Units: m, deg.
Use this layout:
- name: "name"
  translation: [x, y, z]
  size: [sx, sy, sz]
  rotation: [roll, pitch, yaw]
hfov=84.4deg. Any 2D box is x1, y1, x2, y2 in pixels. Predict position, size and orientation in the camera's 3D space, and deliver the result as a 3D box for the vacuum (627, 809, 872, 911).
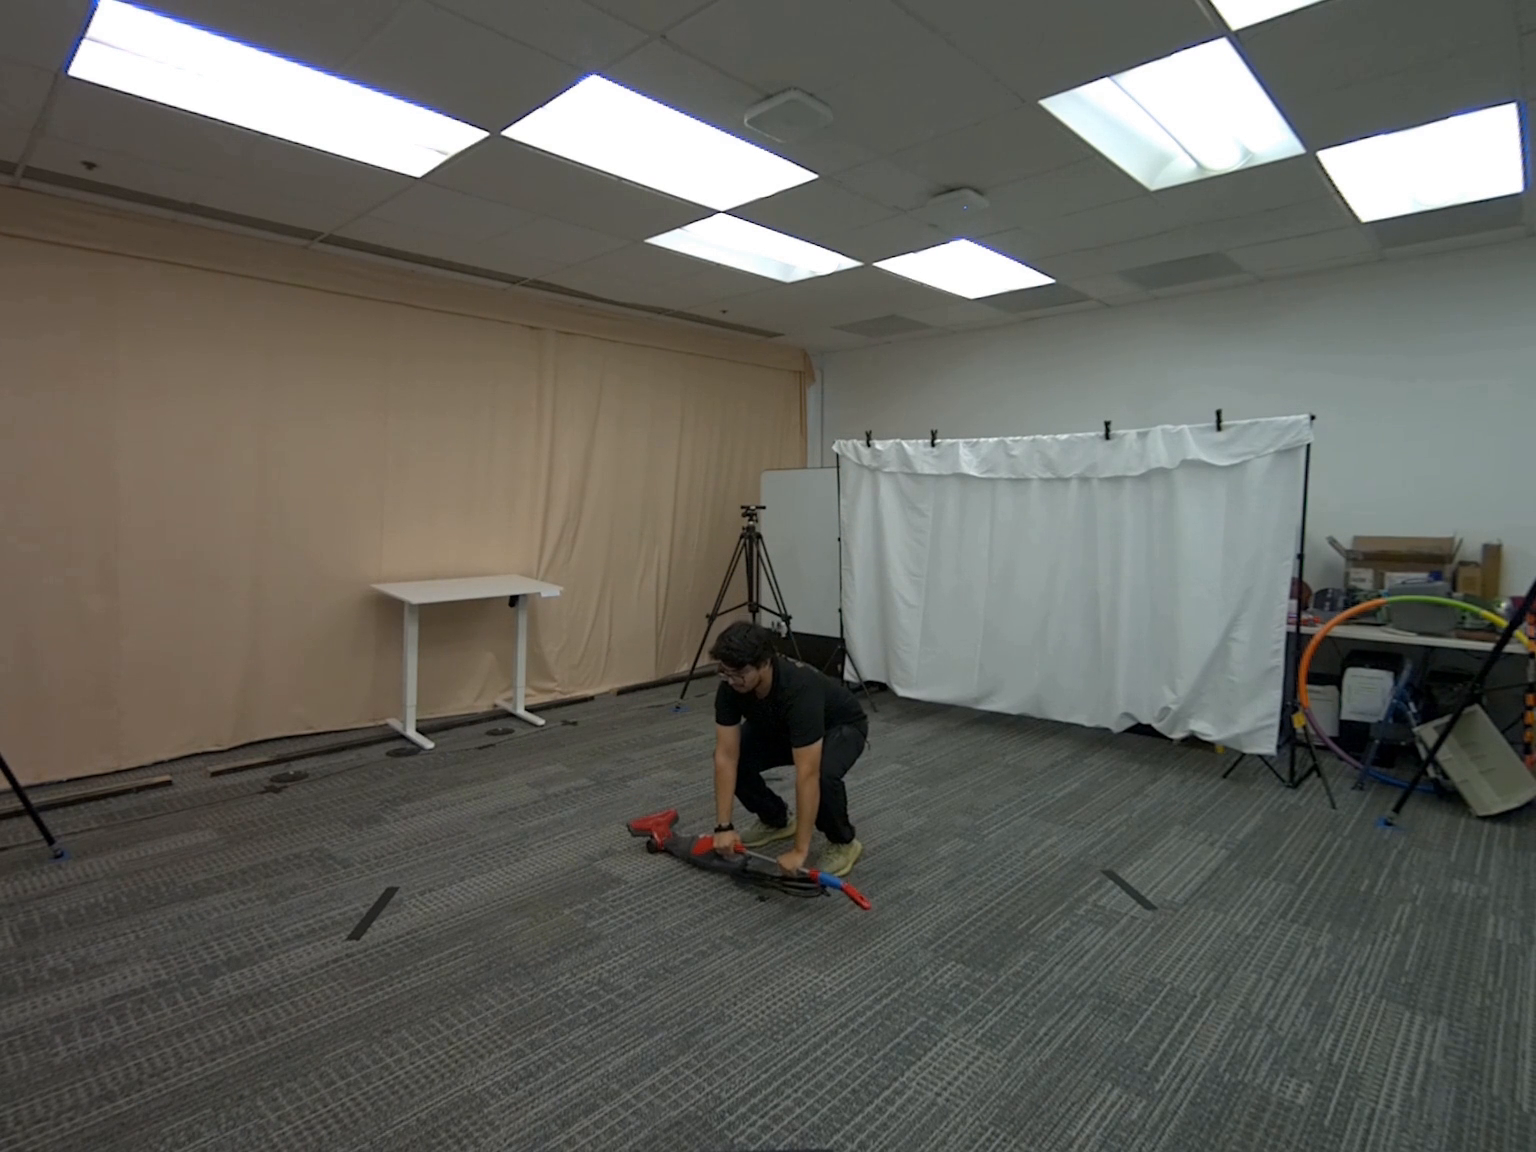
- name: "vacuum"
  translation: [-0.075, 1.055, 3.069]
  size: [0.244, 0.144, 1.084]
  rotation: [1, 1, -45]
